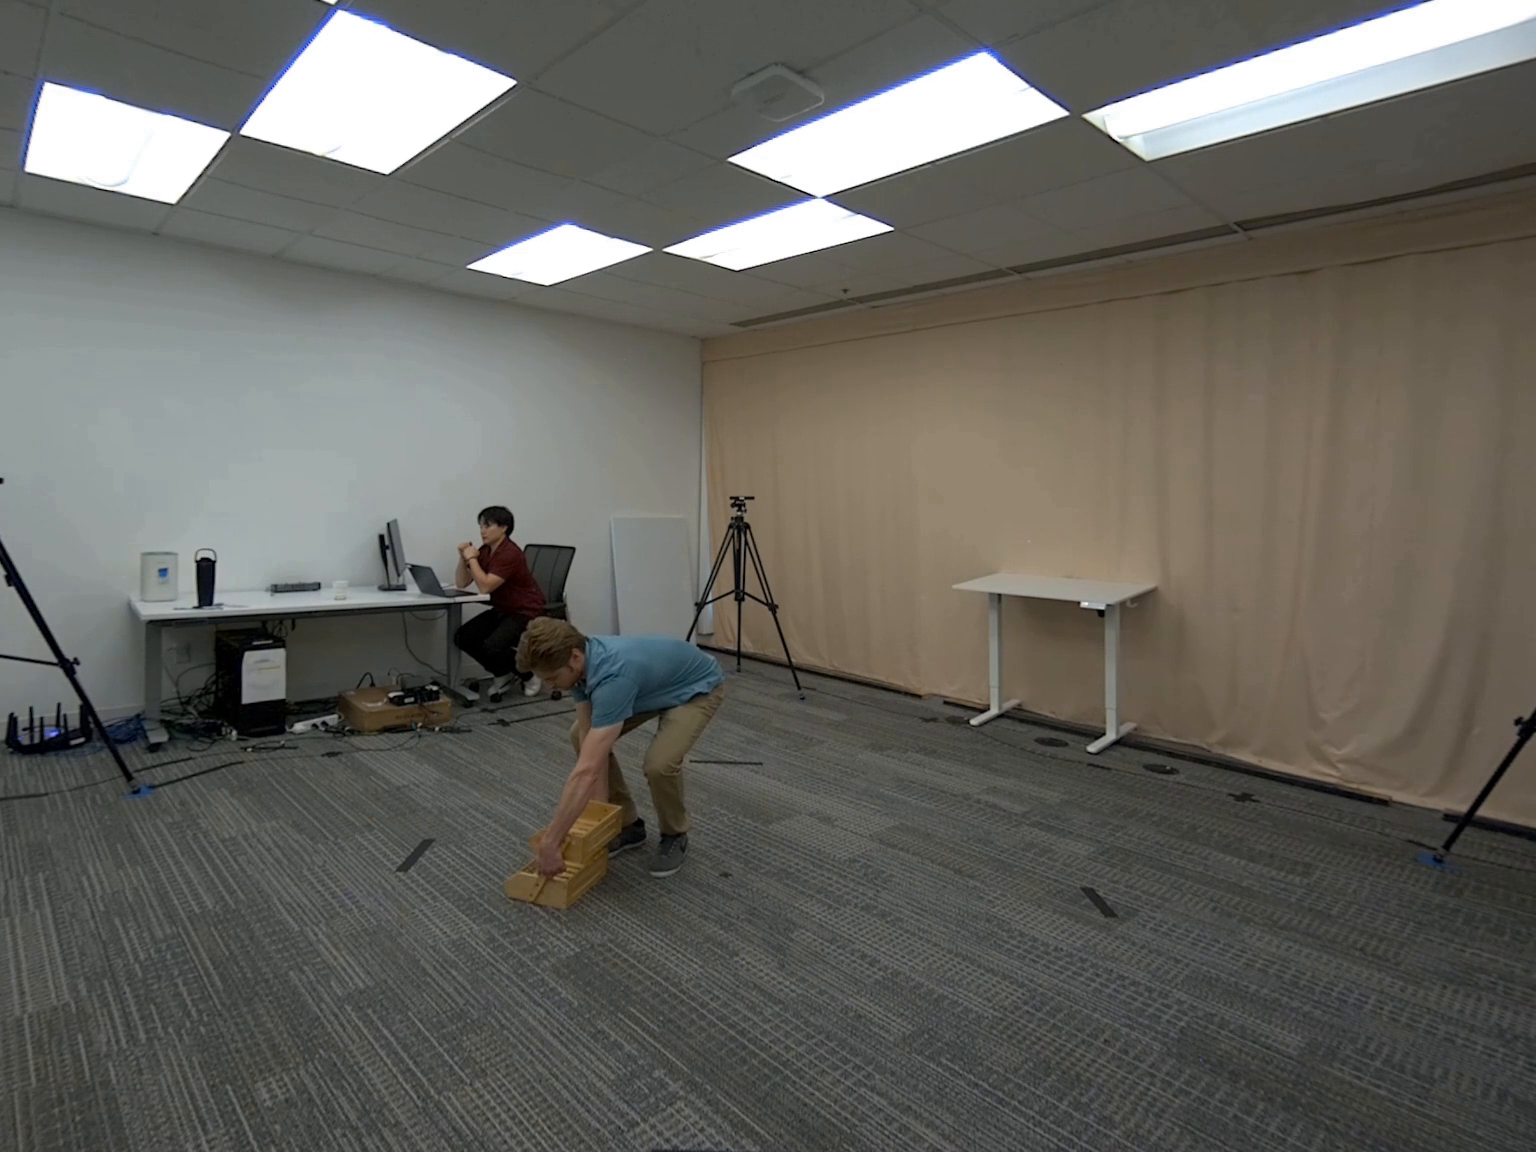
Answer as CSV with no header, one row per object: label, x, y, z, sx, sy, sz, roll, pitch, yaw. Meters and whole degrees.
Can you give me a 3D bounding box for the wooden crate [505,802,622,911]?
wooden crate,-0.743,0.972,2.981,0.306,0.272,0.320,3,5,18
